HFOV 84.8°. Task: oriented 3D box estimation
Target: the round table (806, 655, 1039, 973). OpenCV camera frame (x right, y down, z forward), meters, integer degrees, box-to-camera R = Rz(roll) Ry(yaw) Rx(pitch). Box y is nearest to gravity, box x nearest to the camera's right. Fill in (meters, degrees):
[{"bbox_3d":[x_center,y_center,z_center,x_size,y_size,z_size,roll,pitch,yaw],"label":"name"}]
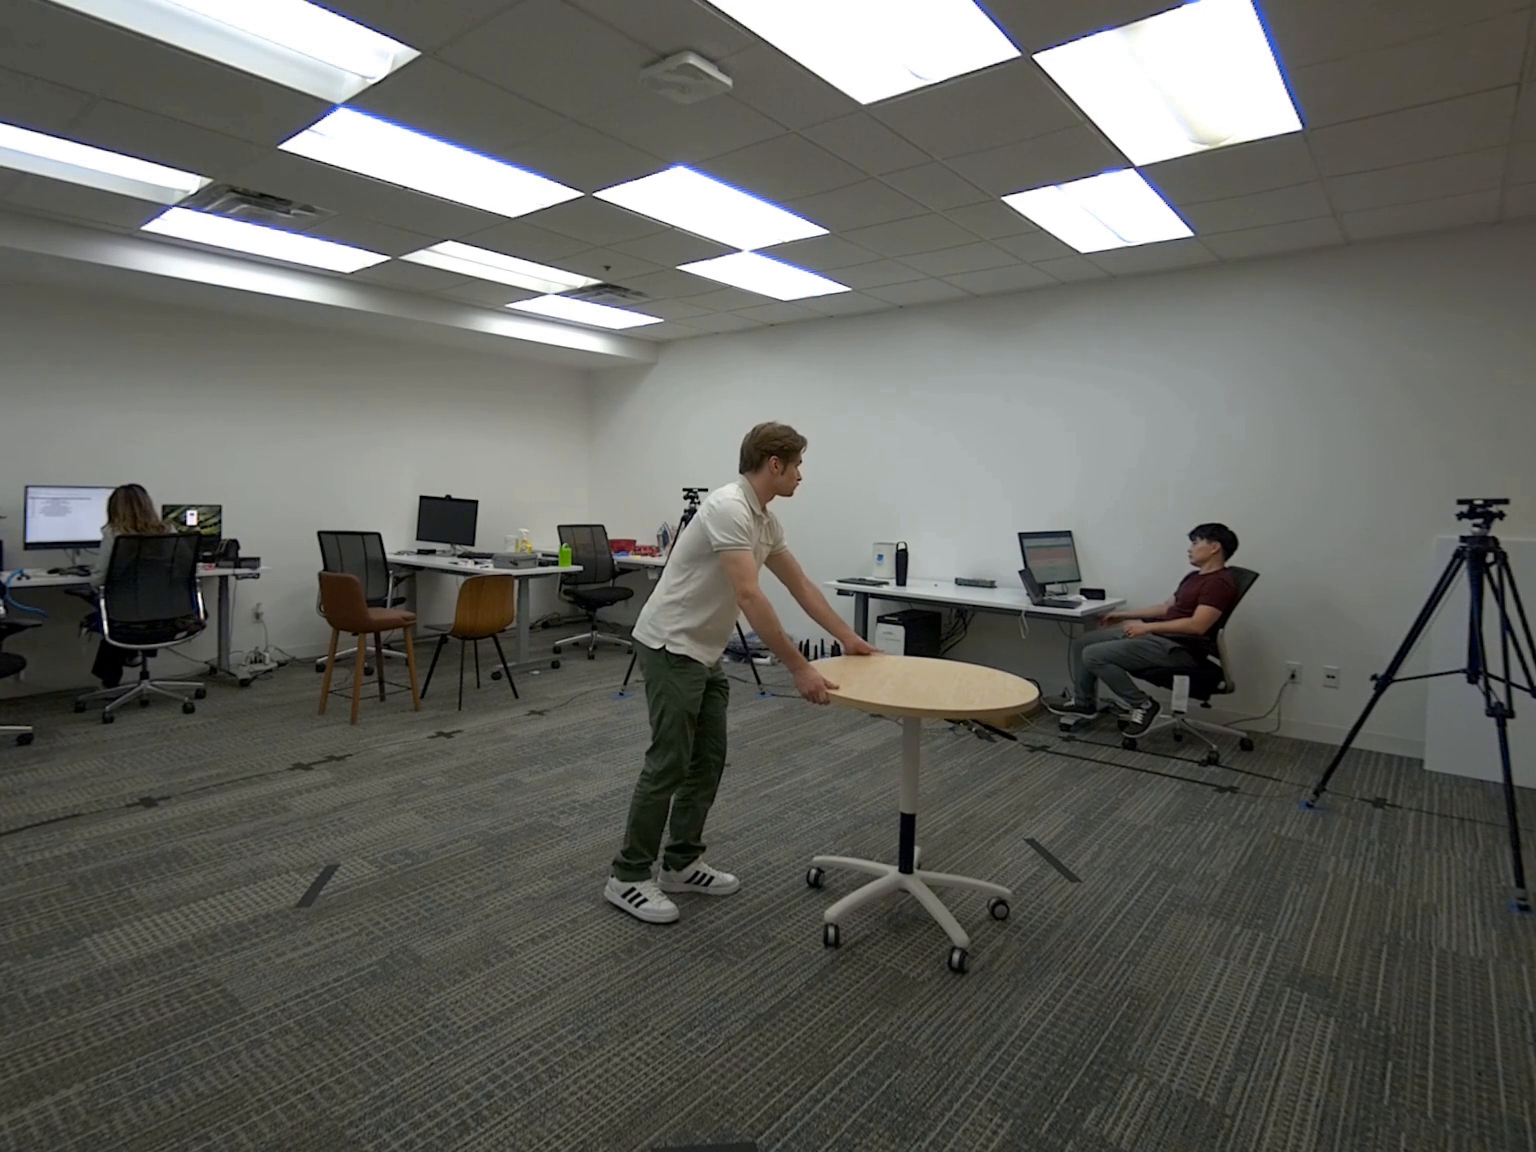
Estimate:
[{"bbox_3d":[0.462,0.731,2.795,0.763,0.791,0.768,2,5,-2],"label":"round table"}]
